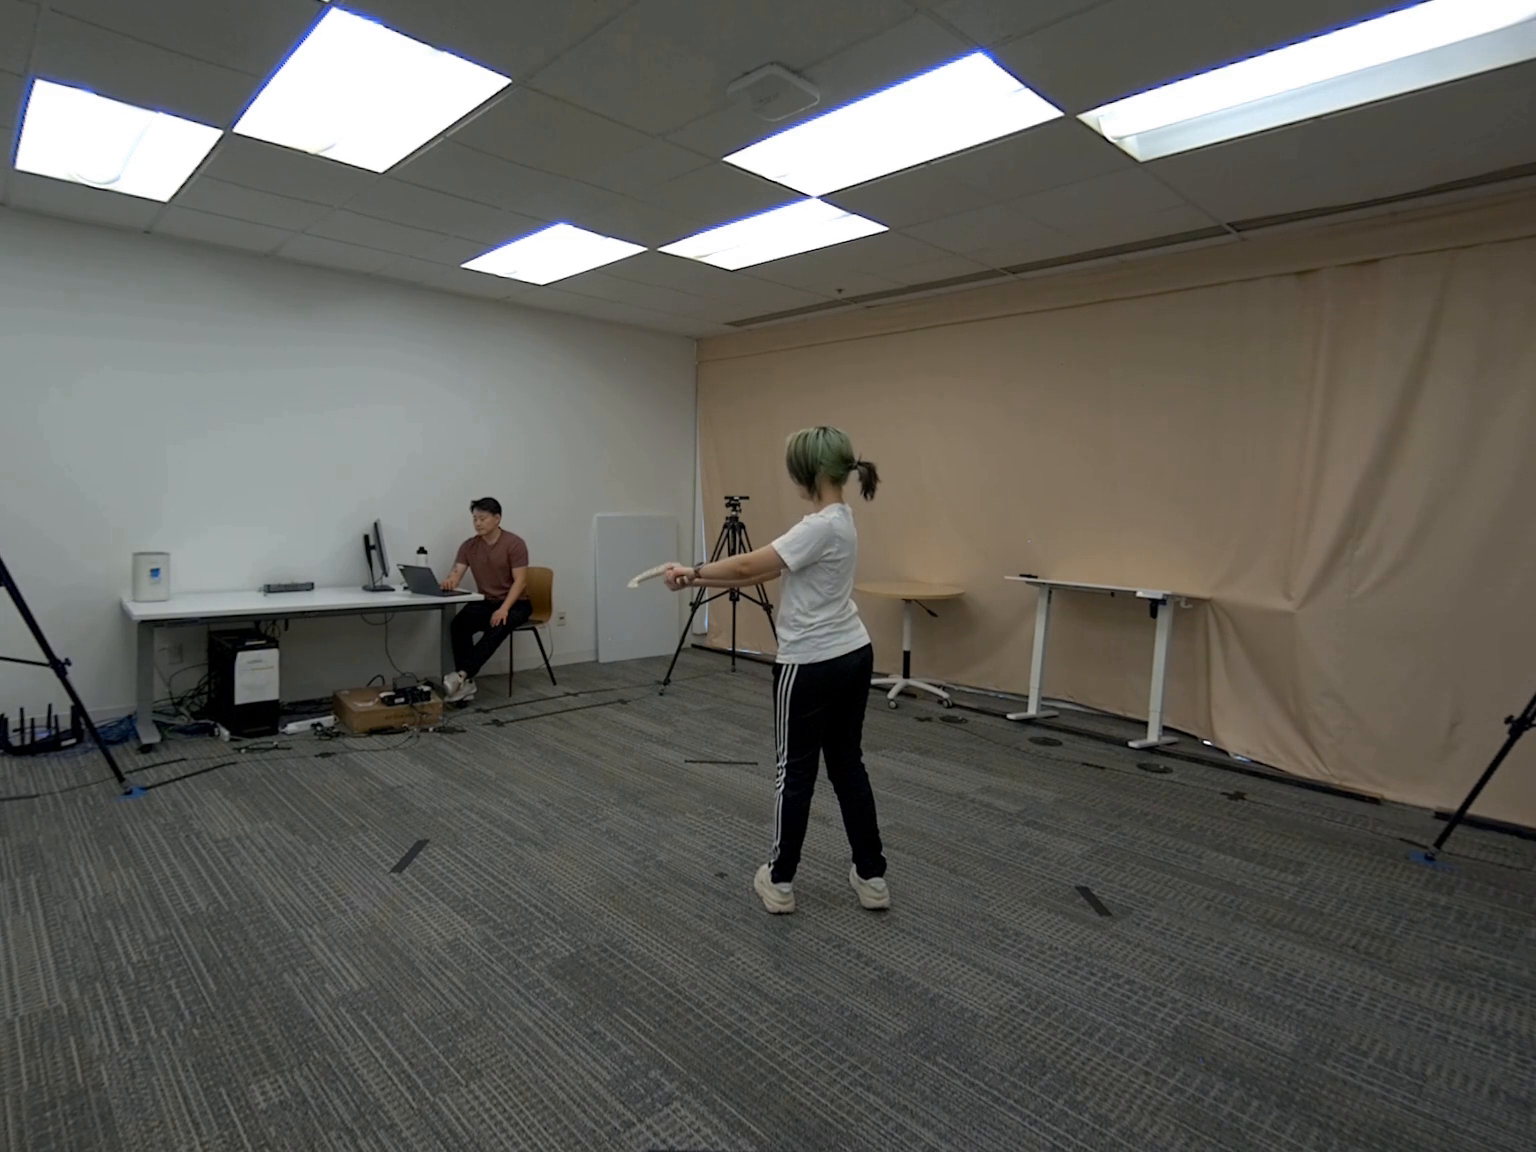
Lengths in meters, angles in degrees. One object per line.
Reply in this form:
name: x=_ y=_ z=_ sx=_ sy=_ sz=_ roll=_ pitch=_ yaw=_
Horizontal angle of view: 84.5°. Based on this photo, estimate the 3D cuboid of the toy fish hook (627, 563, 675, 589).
toy fish hook: x=-0.423 y=0.011 z=3.129 sx=0.223 sy=0.048 sz=0.513 roll=-26 pitch=11 yaw=-12
